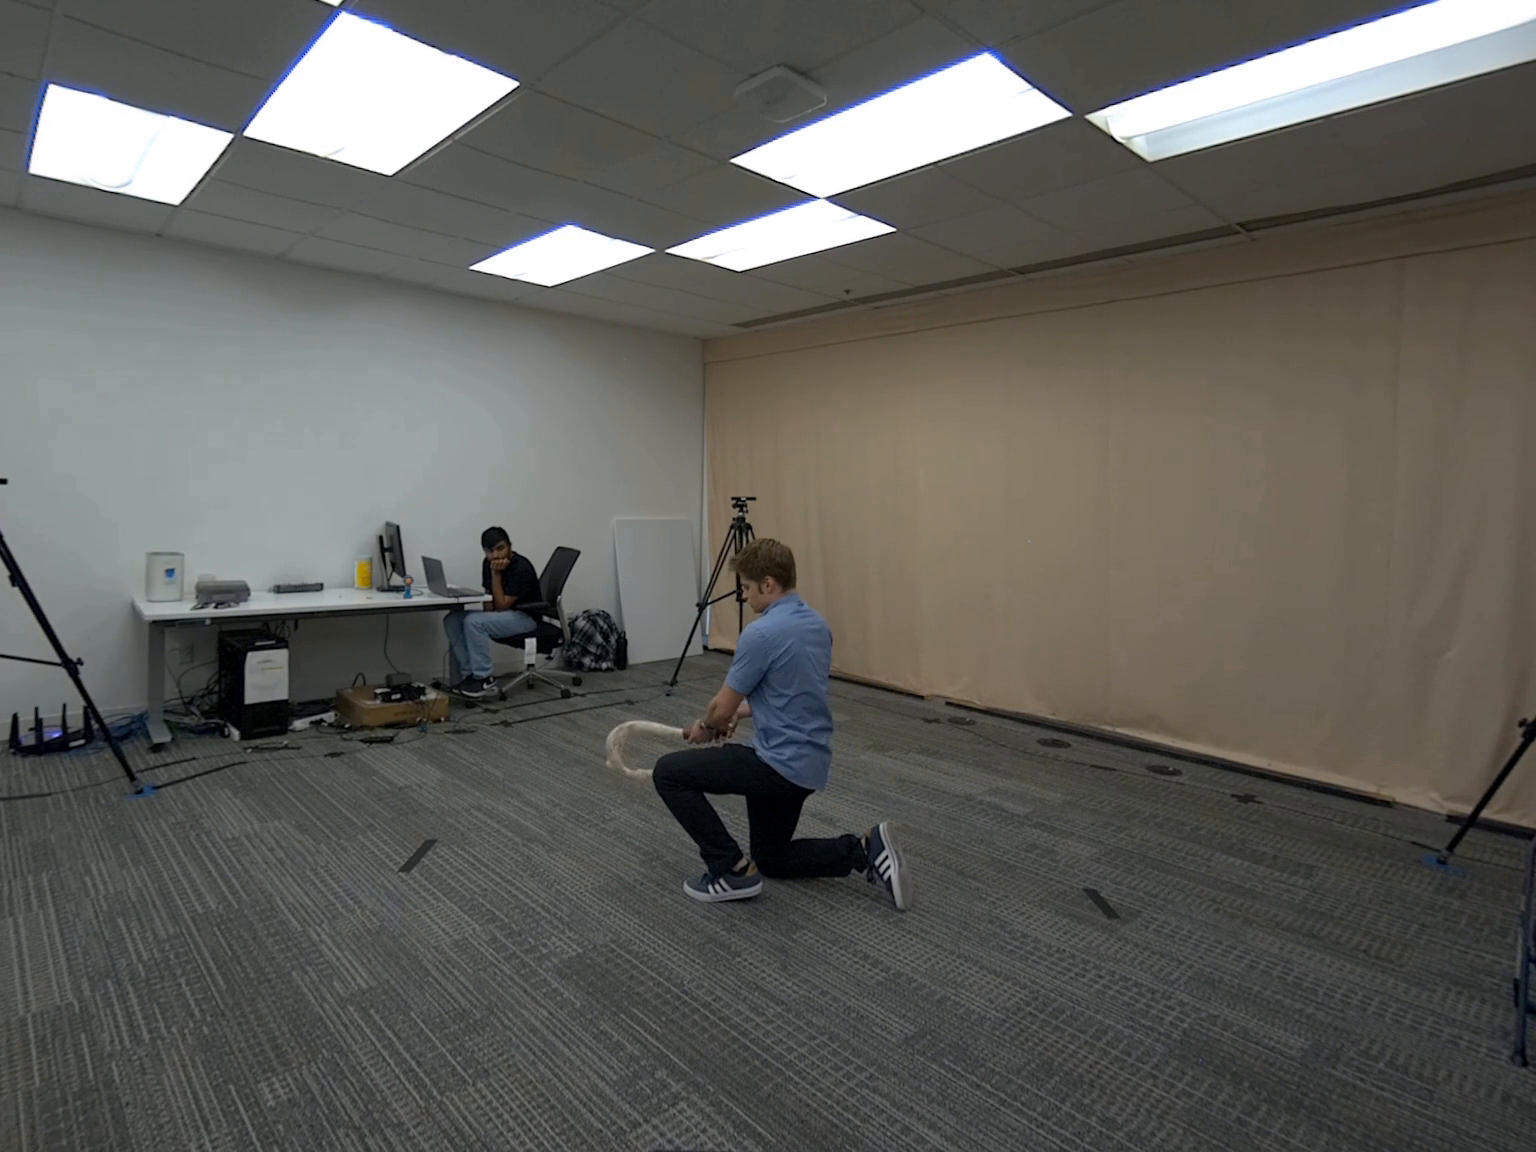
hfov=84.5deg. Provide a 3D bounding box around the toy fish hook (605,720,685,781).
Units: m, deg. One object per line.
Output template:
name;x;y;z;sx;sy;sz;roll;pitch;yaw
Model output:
toy fish hook;-0.376;0.645;3.280;0.507;0.227;0.047;-6;-15;2
